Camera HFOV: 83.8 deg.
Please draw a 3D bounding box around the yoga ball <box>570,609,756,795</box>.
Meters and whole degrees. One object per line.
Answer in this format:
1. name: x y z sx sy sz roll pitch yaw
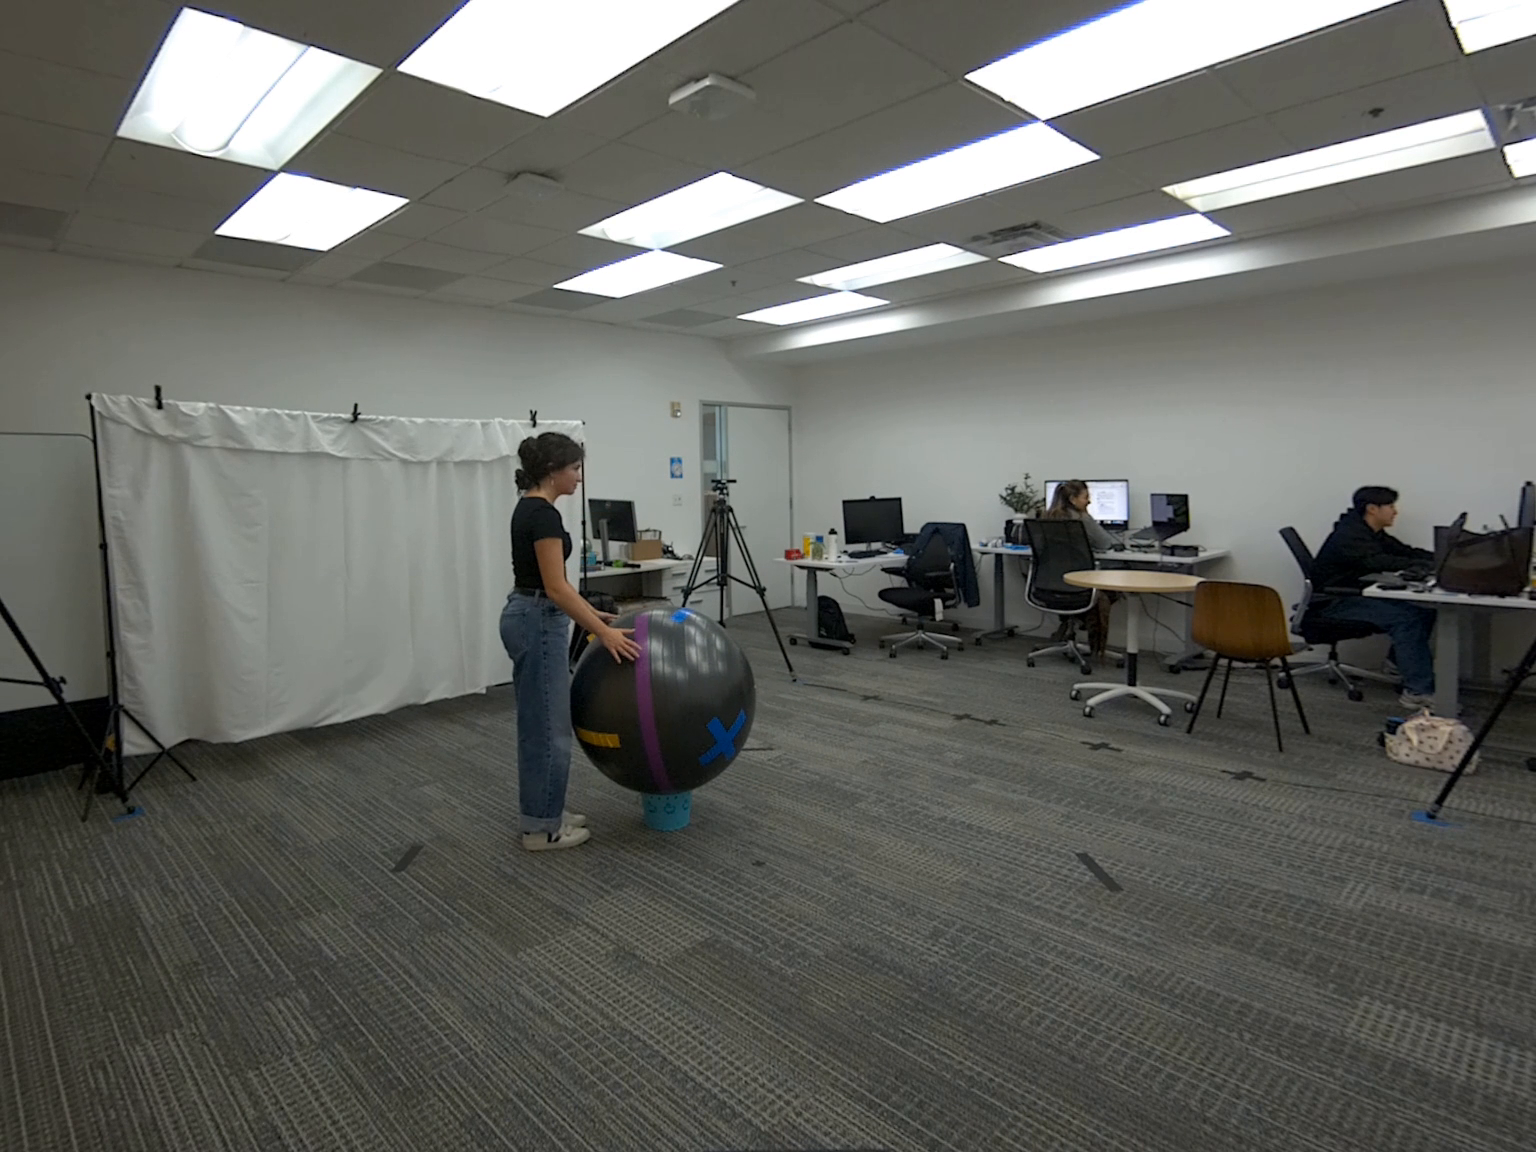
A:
1. yoga ball: -0.424 0.504 3.494 0.757 0.755 0.762 -1 5 -2
